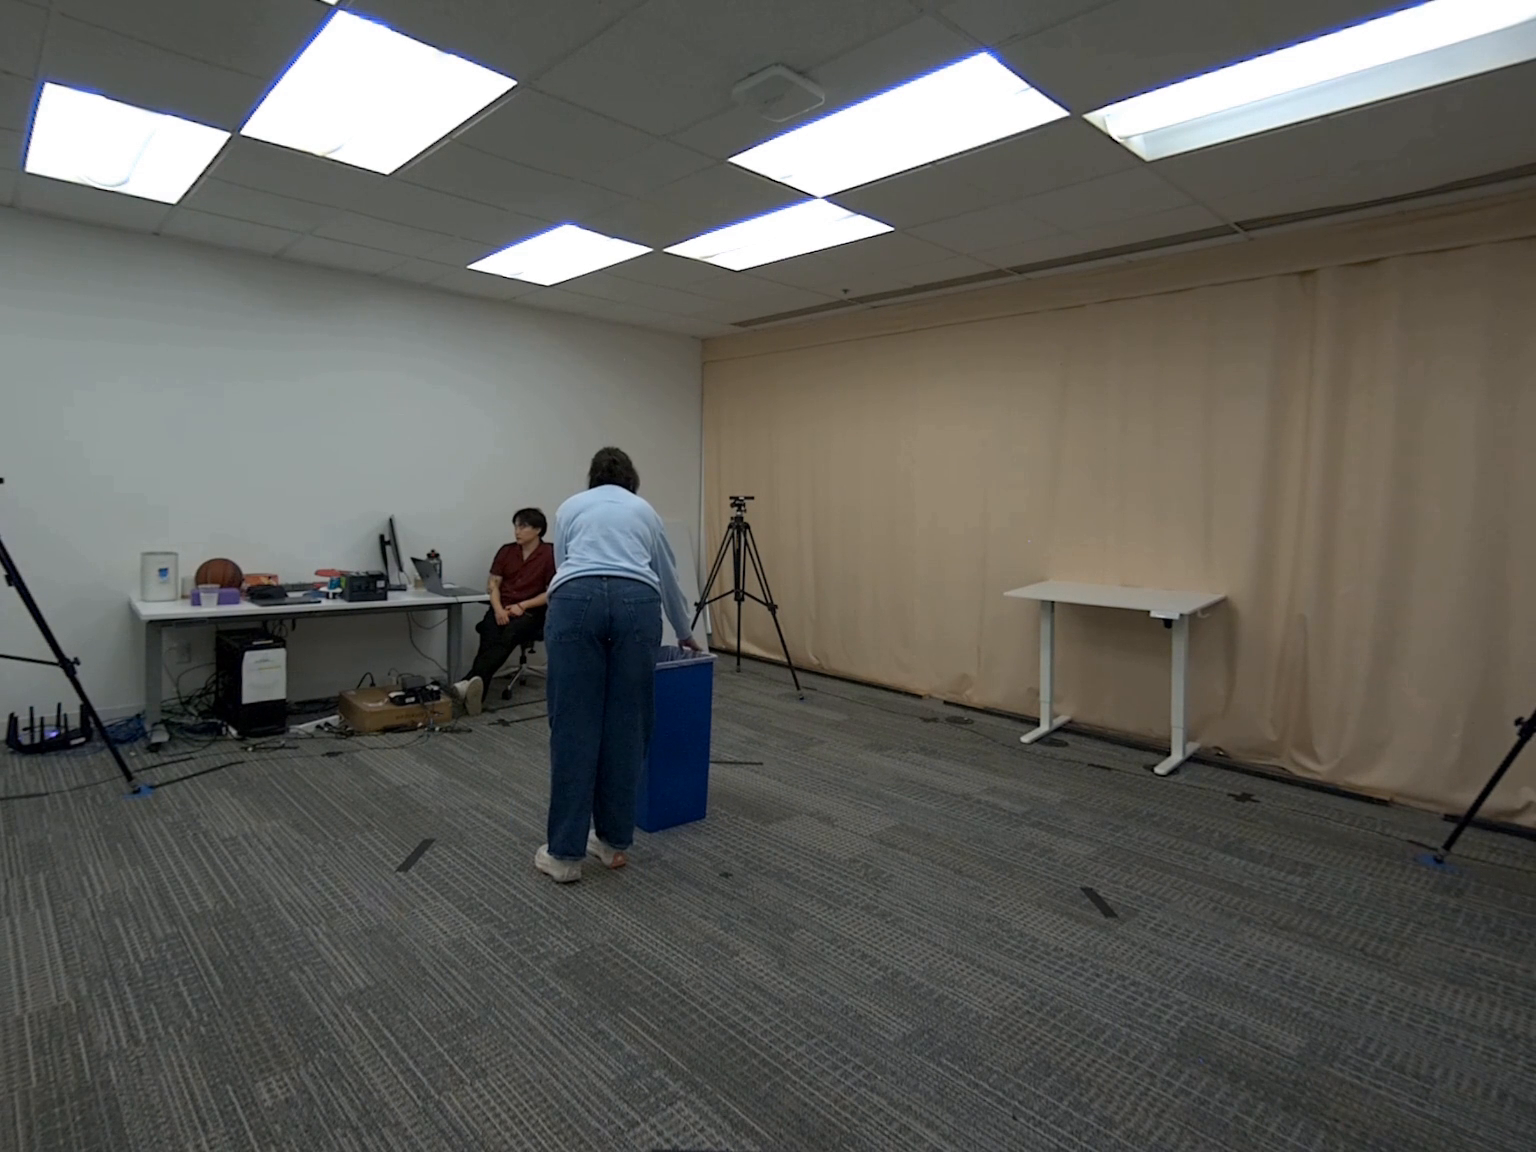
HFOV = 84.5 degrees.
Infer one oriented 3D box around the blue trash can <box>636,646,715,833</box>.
[{"bbox_3d":[-0.478,0.691,3.659,0.365,0.712,0.387,-2,4,-41],"label":"blue trash can"}]
